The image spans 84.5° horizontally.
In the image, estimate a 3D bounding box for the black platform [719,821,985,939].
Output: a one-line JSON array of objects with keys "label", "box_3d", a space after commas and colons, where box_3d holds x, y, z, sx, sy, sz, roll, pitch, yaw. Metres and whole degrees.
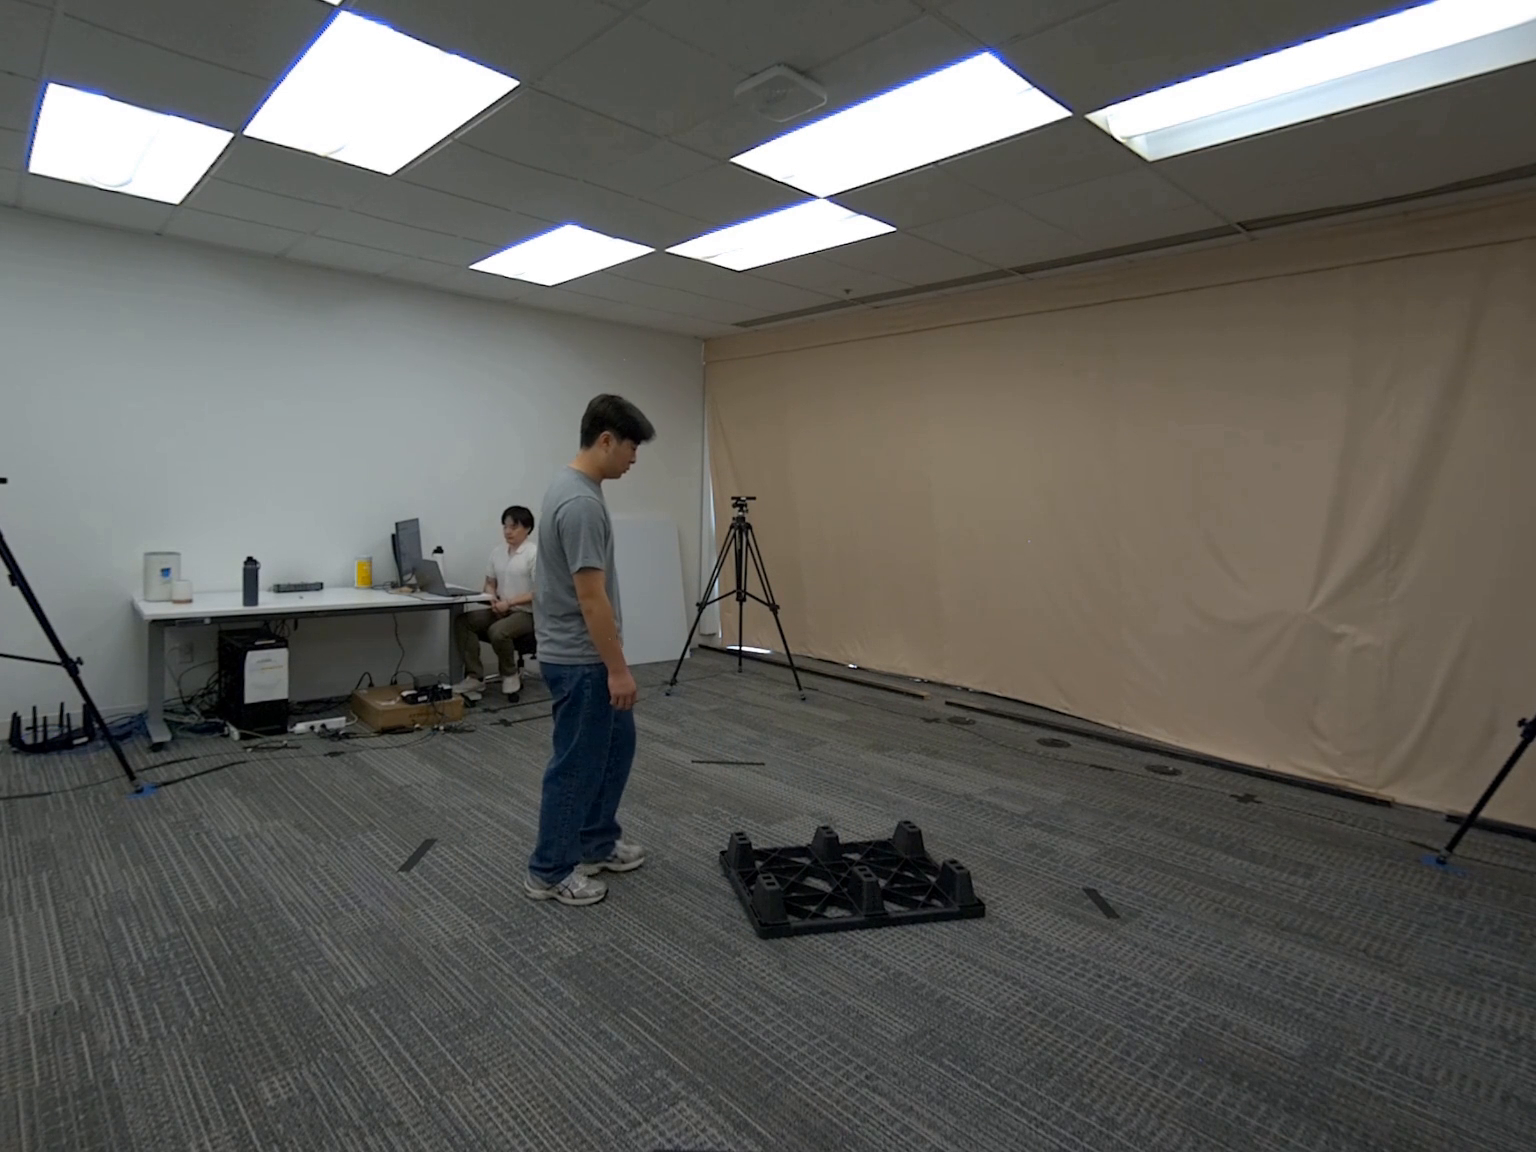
[{"label": "black platform", "box_3d": [0.269, 1.052, 3.035, 0.796, 0.143, 0.614, 0, 6, -16]}]
